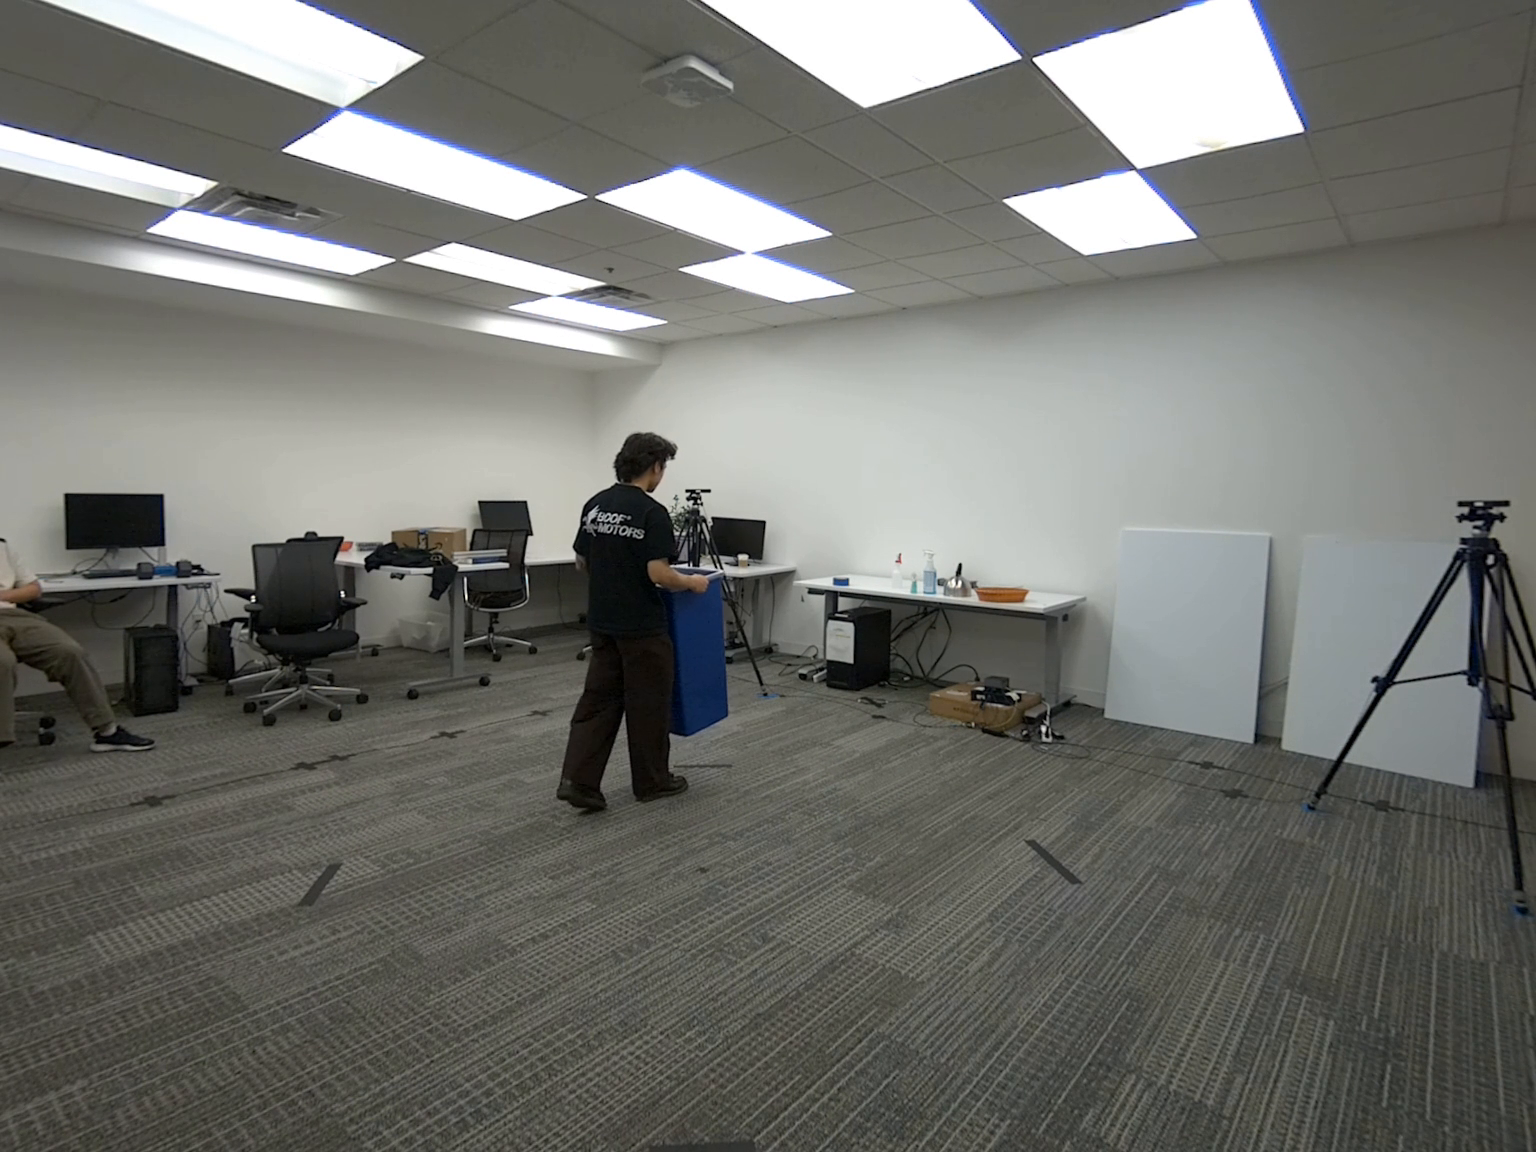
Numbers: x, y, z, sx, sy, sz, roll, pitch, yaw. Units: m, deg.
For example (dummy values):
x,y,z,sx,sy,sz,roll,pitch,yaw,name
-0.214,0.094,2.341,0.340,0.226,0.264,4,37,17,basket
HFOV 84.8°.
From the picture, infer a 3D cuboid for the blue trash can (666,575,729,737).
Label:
x,y,z,sx,sy,sz,roll,pitch,yaw,name
-0.425,0.343,4.017,0.386,0.707,0.369,3,12,40,blue trash can
